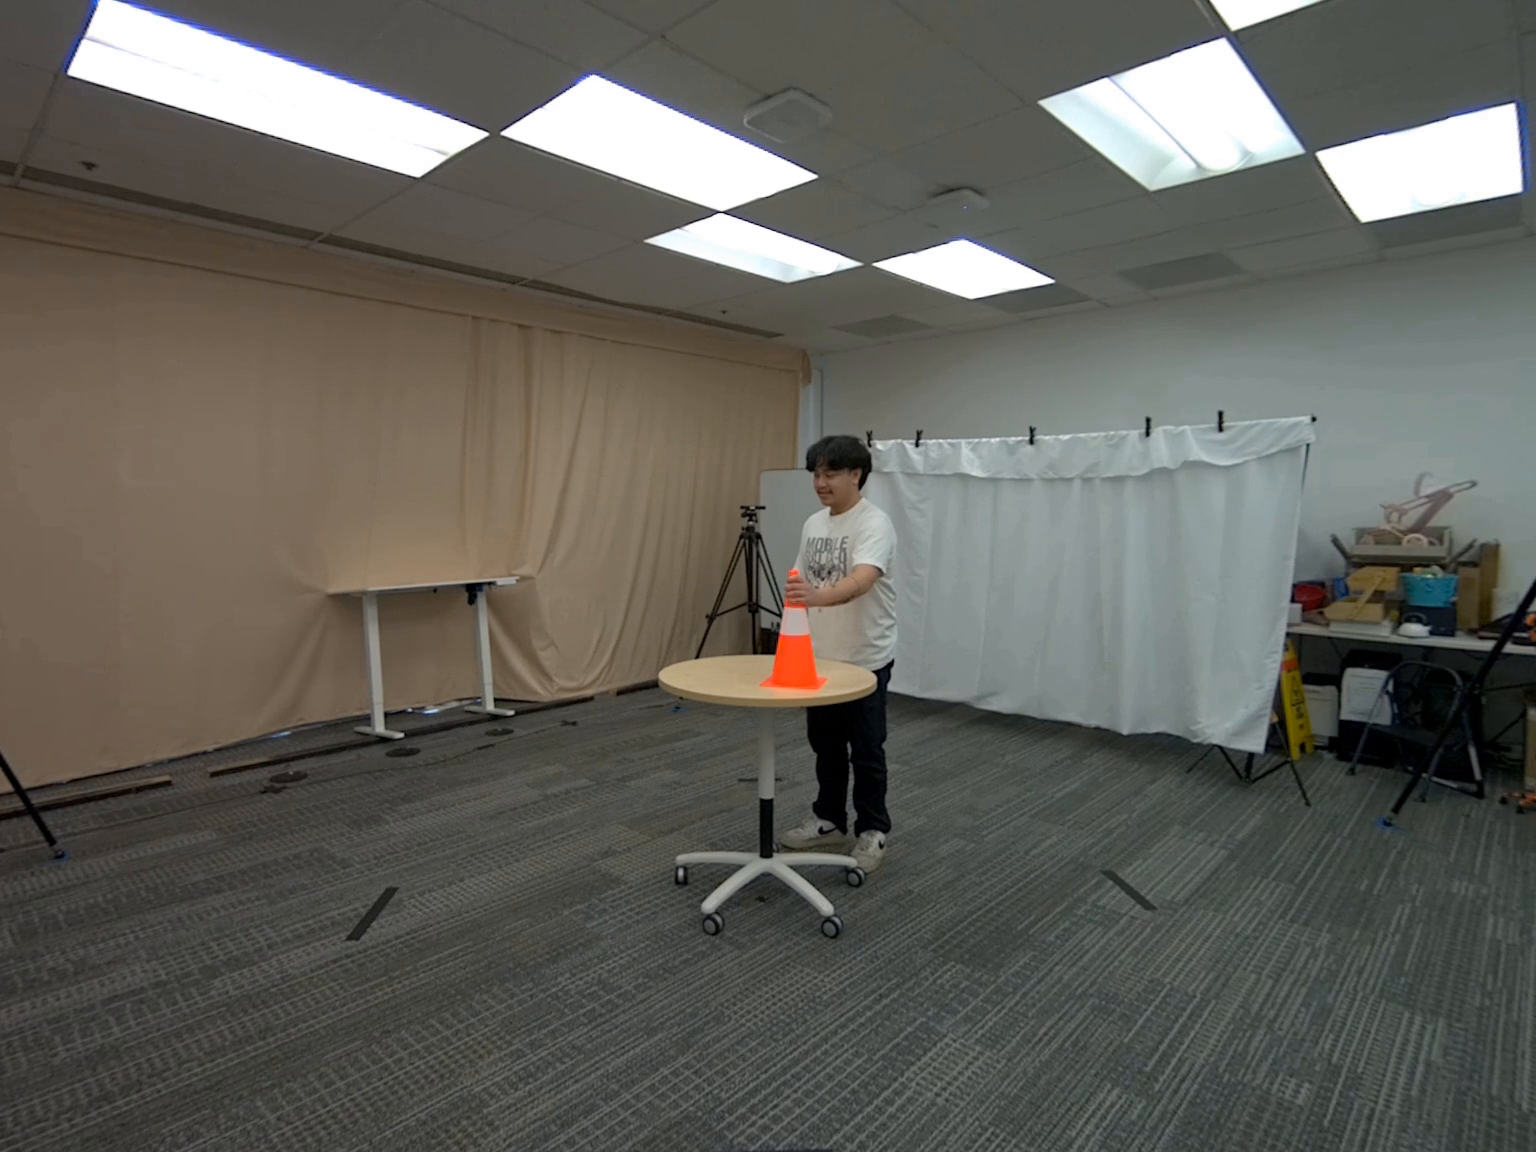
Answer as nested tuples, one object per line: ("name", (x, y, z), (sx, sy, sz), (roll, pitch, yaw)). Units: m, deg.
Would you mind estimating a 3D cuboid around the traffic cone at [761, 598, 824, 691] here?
("traffic cone", (0.096, 0.174, 2.834), (0.209, 0.383, 0.200), (1, 2, 16))
